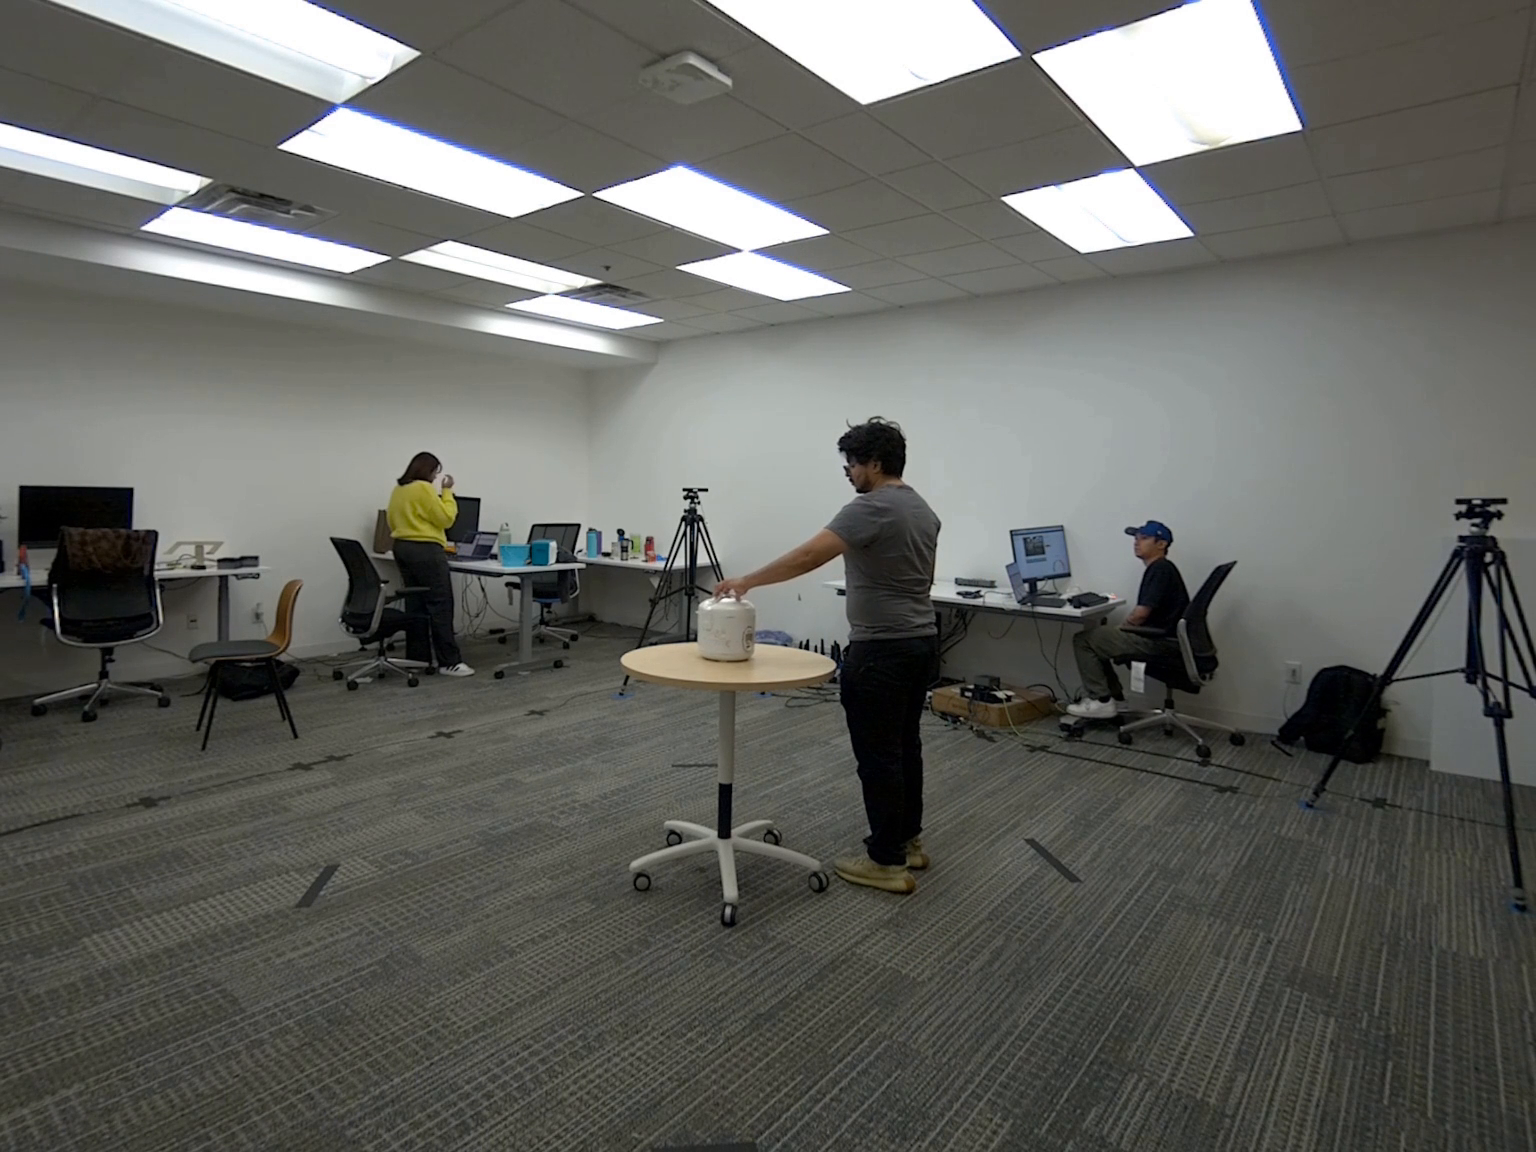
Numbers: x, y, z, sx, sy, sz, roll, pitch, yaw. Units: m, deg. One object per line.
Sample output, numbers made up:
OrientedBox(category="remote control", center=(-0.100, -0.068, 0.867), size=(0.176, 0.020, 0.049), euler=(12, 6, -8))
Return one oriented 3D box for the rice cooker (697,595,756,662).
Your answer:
OrientedBox(category="rice cooker", center=(-0.160, 0.176, 3.081), size=(0.224, 0.232, 0.214), euler=(3, 5, 40))
